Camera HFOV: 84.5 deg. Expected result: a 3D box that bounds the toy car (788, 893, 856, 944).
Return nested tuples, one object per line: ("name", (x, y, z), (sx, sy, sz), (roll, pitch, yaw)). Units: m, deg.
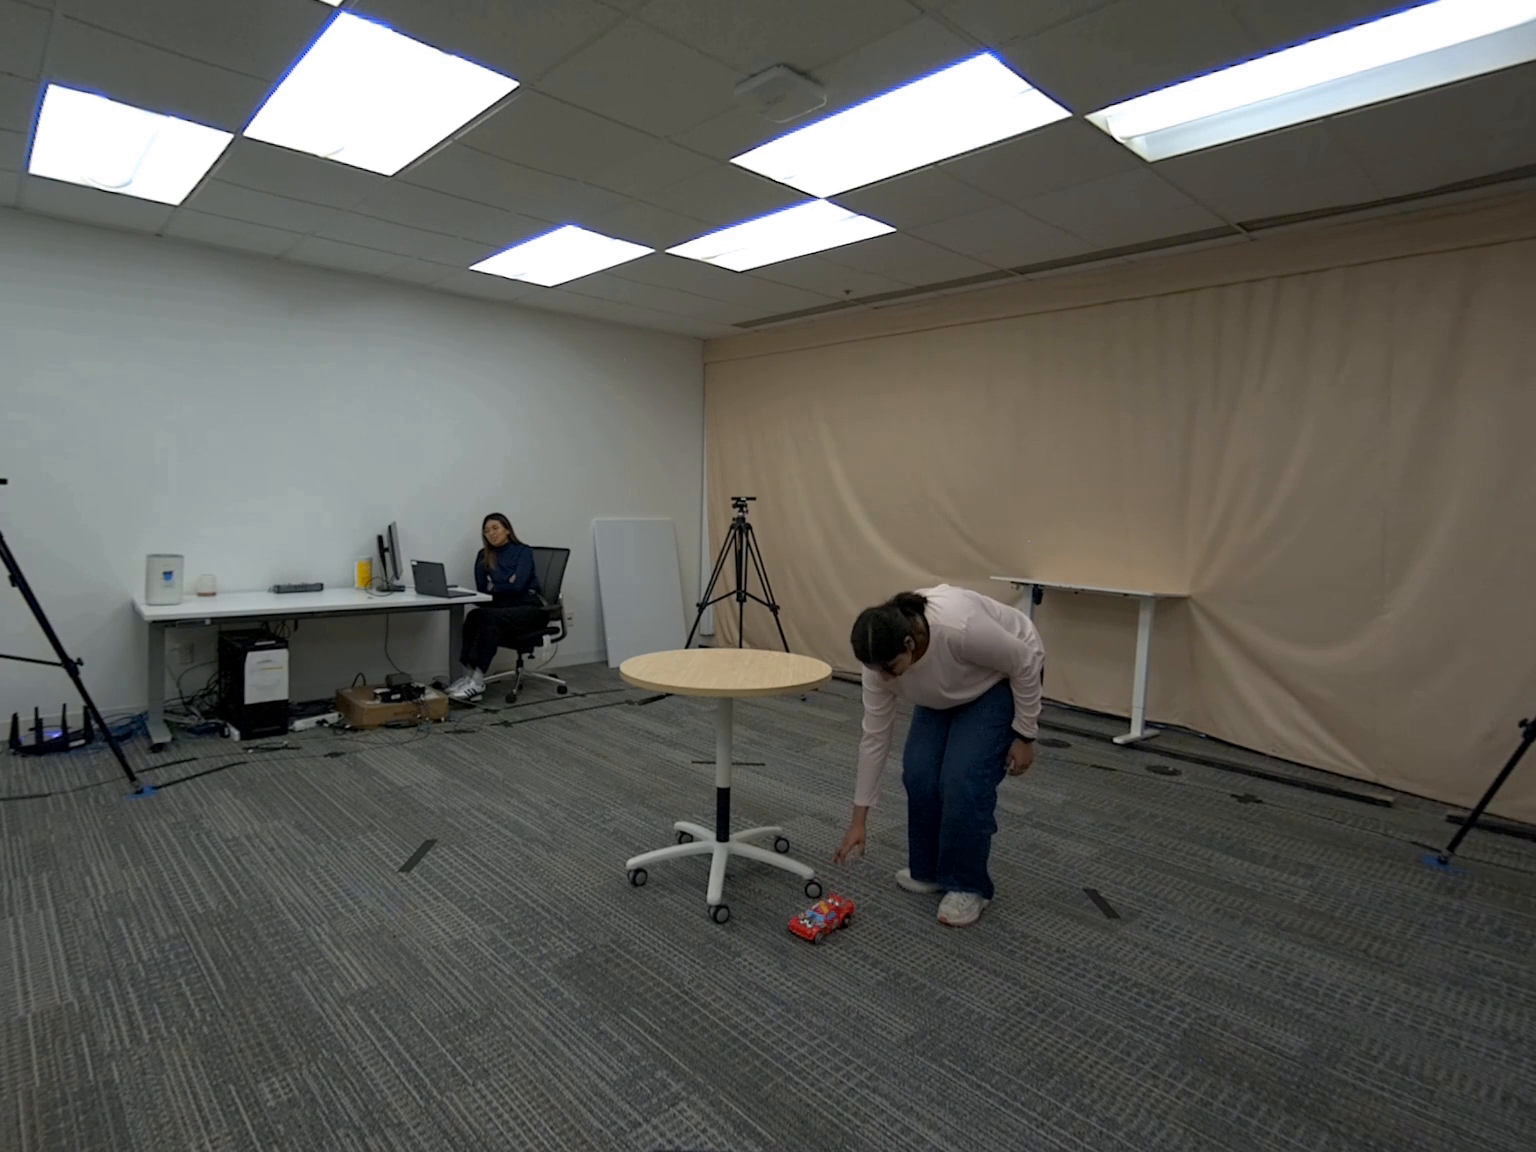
("toy car", (0.176, 1.117, 2.736), (0.134, 0.082, 0.250), (6, 17, 43))
